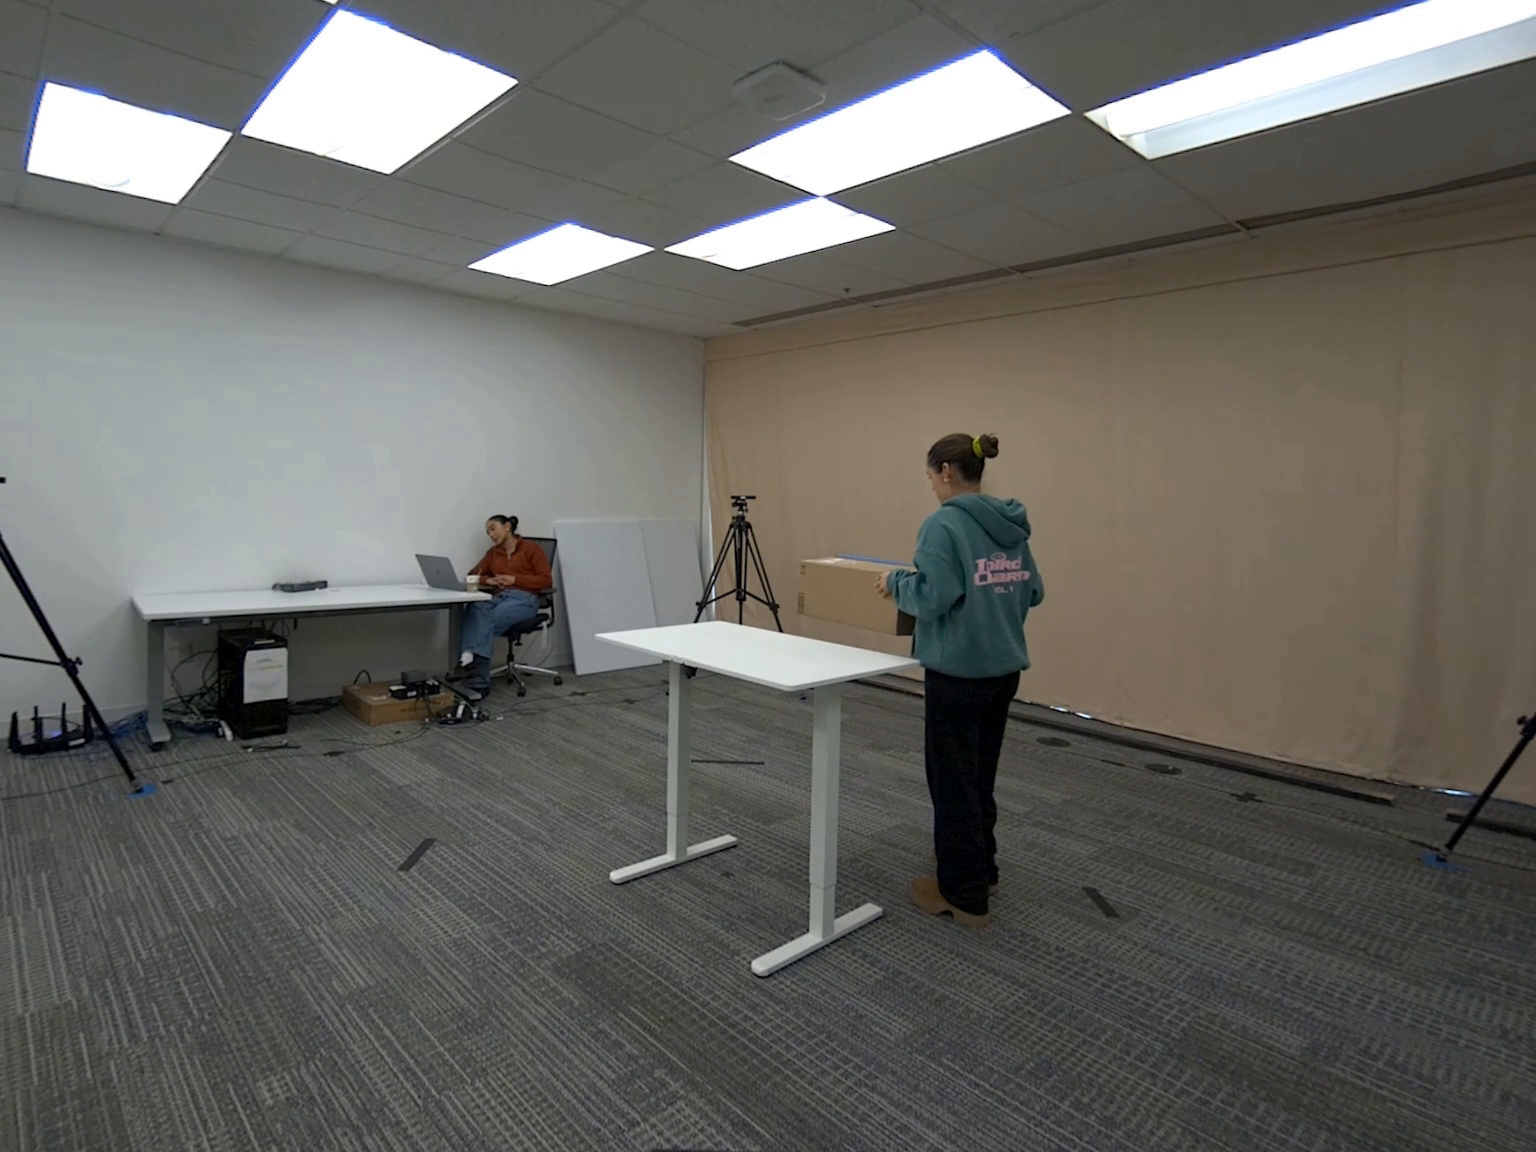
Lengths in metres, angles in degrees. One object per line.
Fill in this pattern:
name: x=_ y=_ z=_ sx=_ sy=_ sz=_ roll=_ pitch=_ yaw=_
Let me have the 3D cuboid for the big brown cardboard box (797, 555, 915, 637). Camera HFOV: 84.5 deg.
big brown cardboard box: x=0.443 y=0.072 z=3.247 sx=0.408 sy=0.232 sz=0.604 roll=1 pitch=6 yaw=-35
